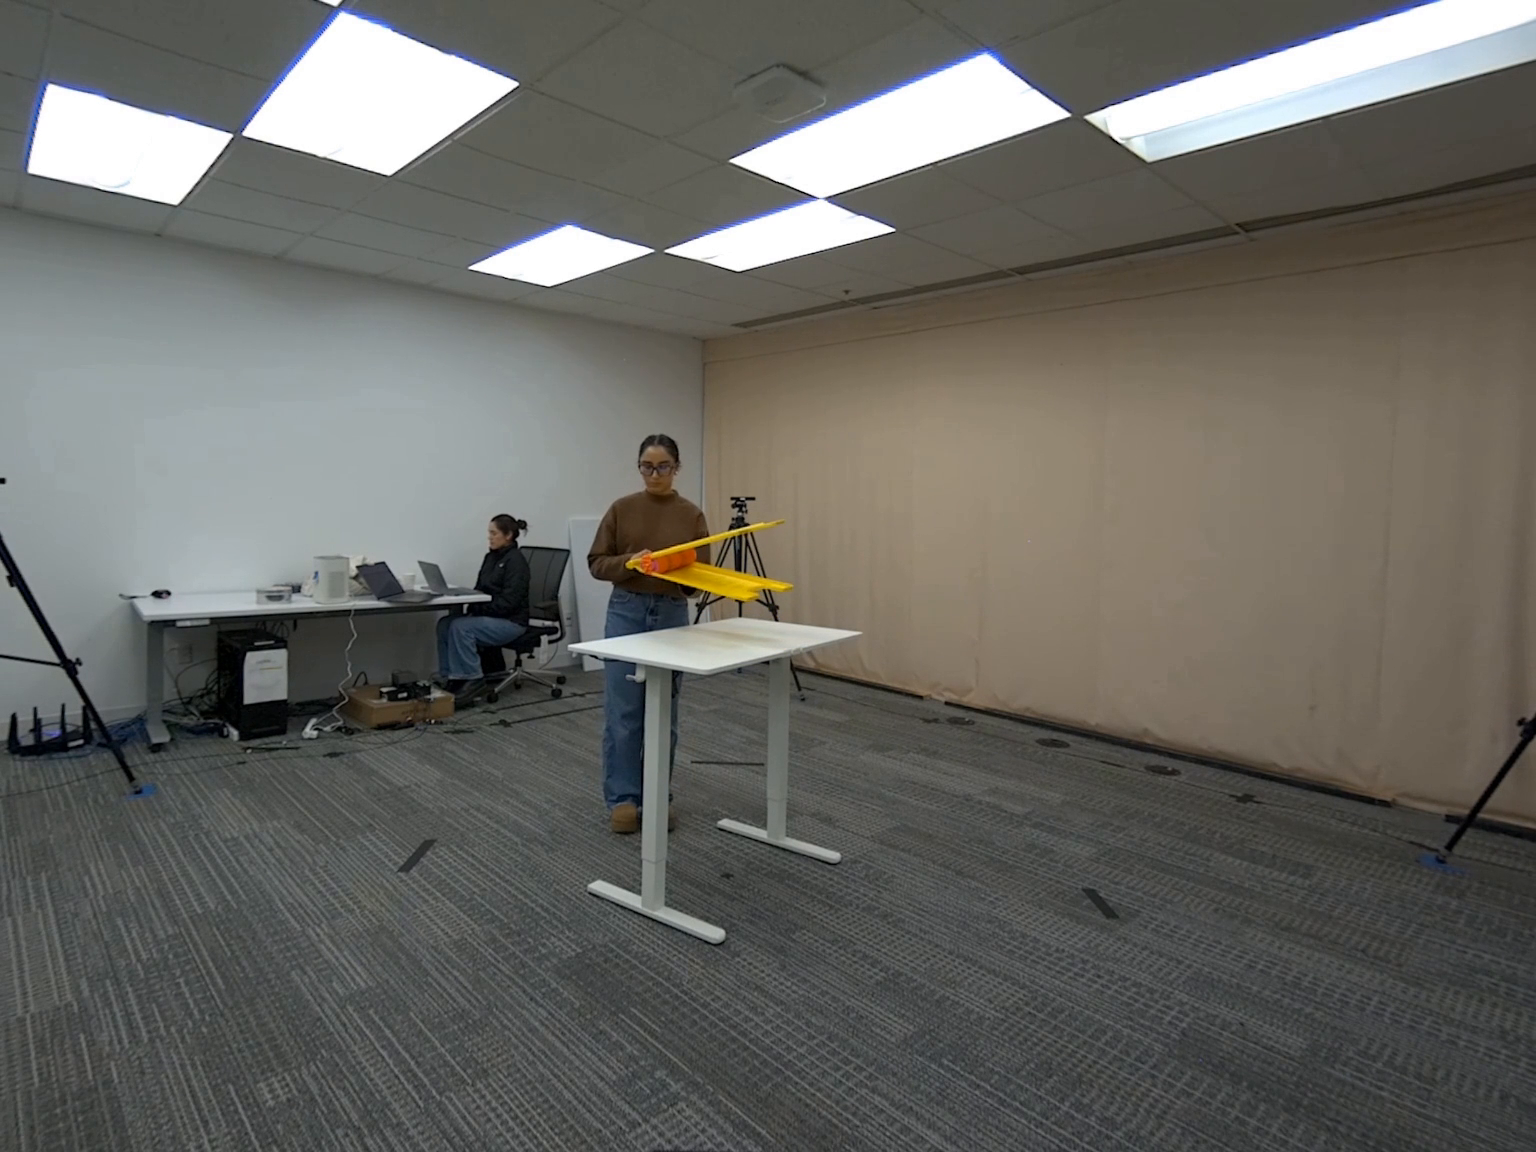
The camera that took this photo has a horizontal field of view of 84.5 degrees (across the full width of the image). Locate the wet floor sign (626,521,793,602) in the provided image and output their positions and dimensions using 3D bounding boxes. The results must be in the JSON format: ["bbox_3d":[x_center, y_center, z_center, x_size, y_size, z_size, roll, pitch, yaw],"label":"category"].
[{"bbox_3d":[-0.260,-0.057,3.156,0.661,0.288,0.277,3,11,37],"label":"wet floor sign"}]
